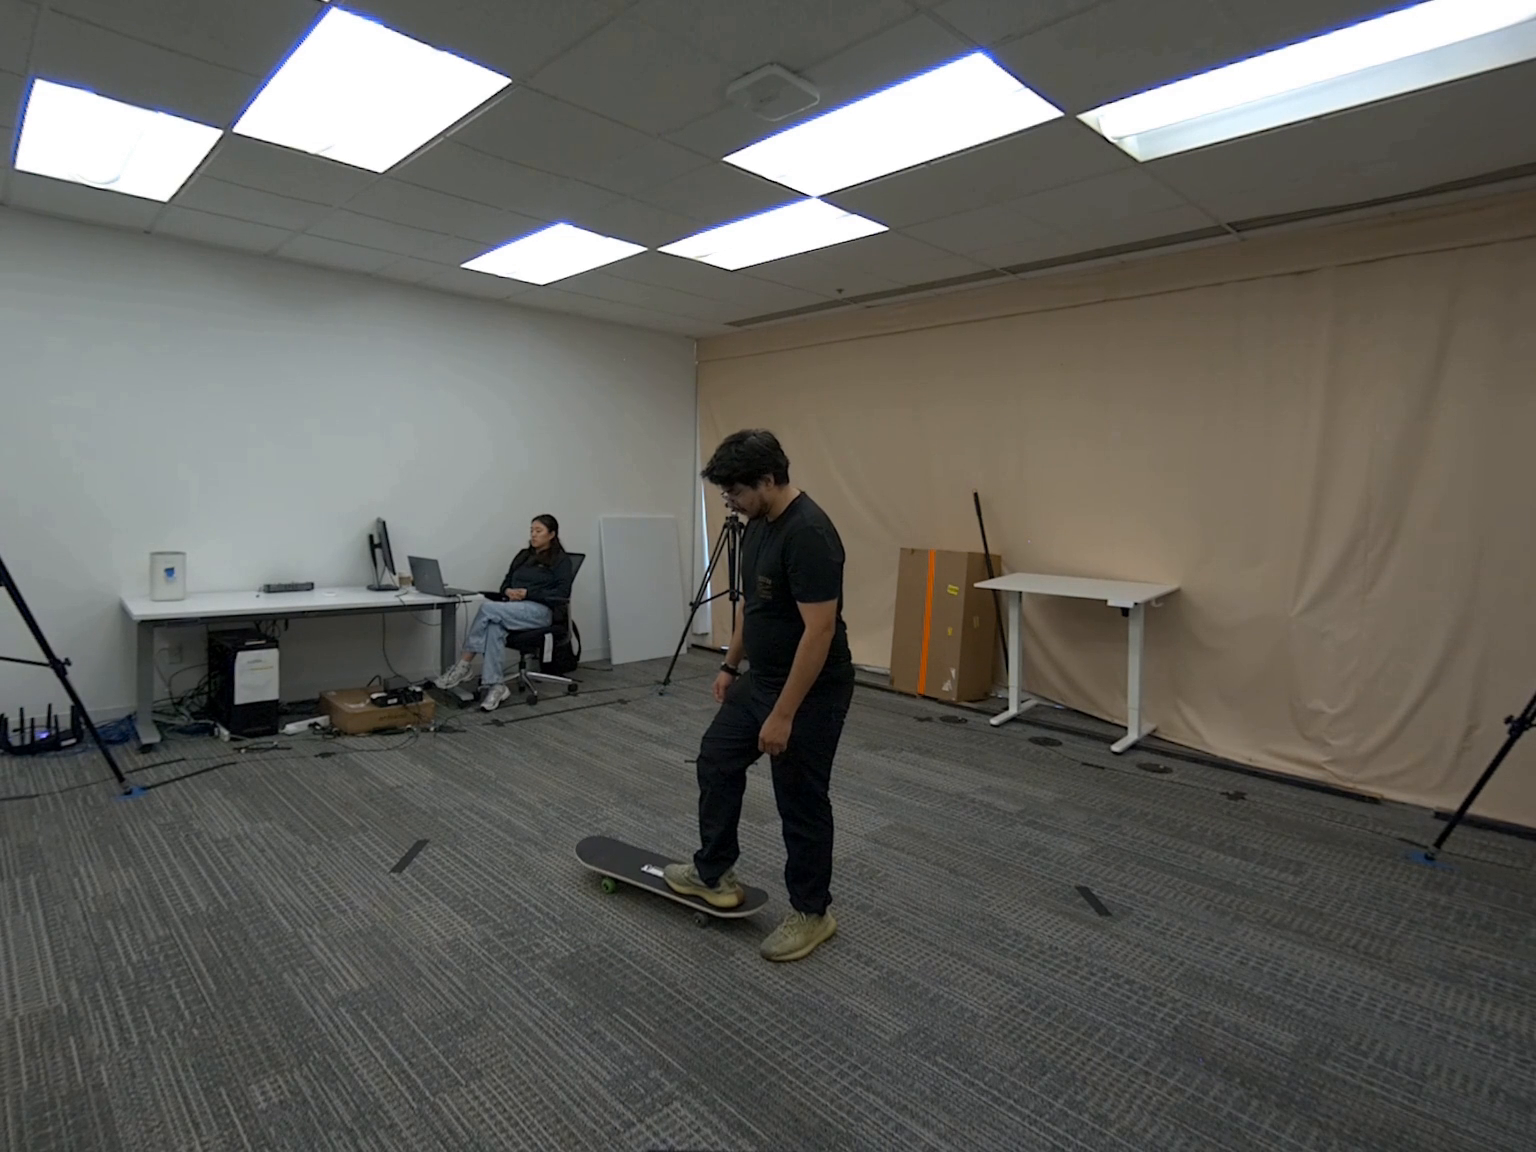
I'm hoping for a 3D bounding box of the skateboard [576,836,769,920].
[{"bbox_3d":[-0.360,1.065,2.898,0.804,0.109,0.190,7,11,32],"label":"skateboard"}]
